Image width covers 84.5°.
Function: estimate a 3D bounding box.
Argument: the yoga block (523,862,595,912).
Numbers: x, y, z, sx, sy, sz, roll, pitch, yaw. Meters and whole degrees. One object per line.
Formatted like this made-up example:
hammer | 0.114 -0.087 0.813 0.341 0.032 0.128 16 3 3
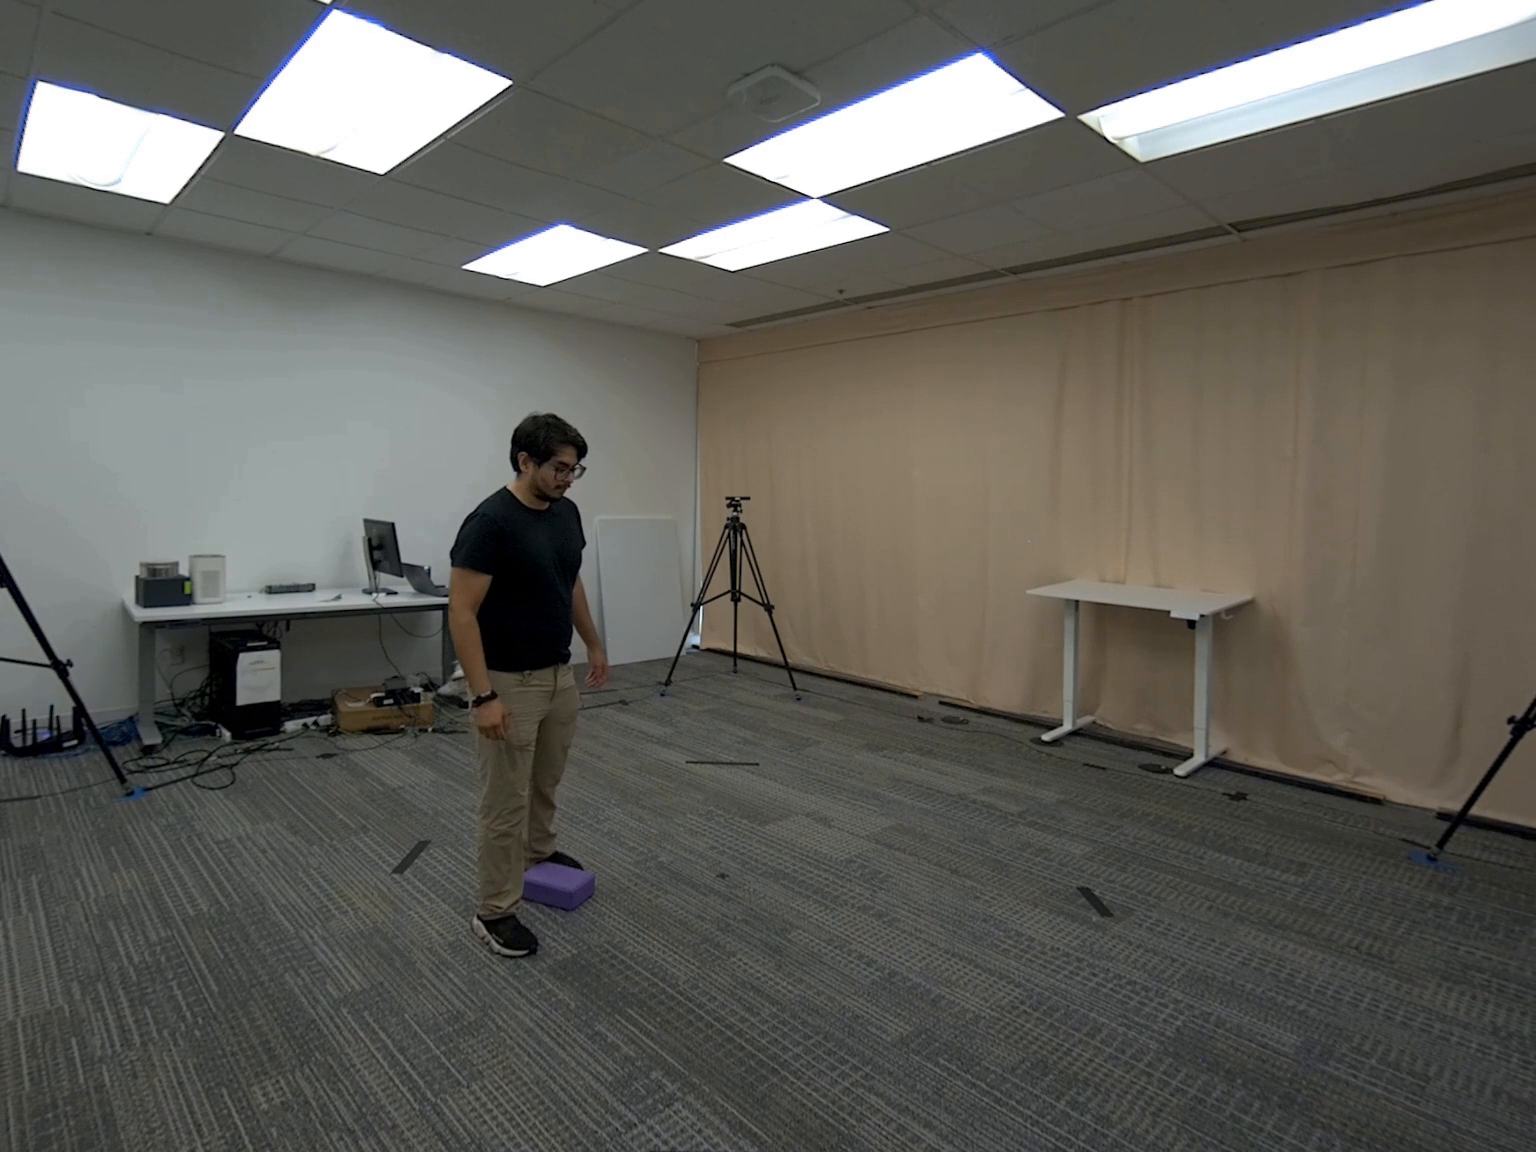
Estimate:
yoga block | -0.737 1.073 2.912 0.234 0.076 0.147 5 6 23
